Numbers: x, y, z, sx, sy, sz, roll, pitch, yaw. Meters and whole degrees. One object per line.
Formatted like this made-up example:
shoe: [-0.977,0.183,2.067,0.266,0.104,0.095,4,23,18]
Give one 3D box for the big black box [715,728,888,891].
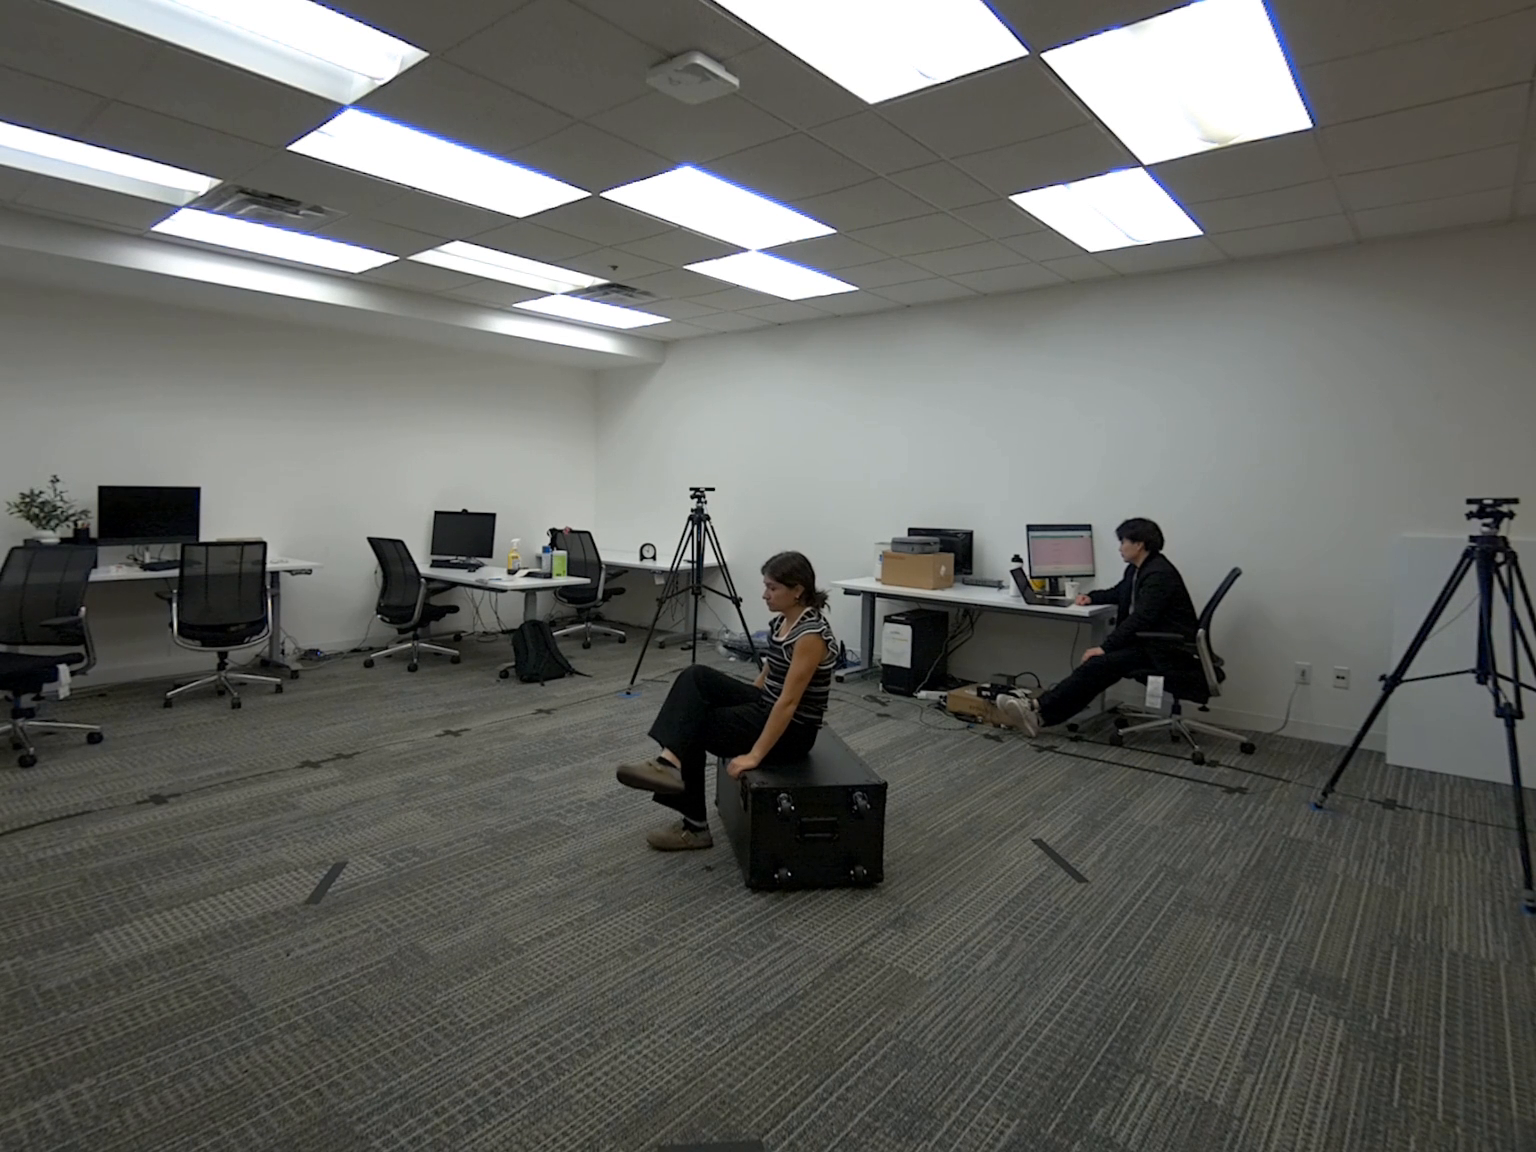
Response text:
big black box: [0.087,0.861,3.285,0.515,0.395,0.875,0,5,-12]
